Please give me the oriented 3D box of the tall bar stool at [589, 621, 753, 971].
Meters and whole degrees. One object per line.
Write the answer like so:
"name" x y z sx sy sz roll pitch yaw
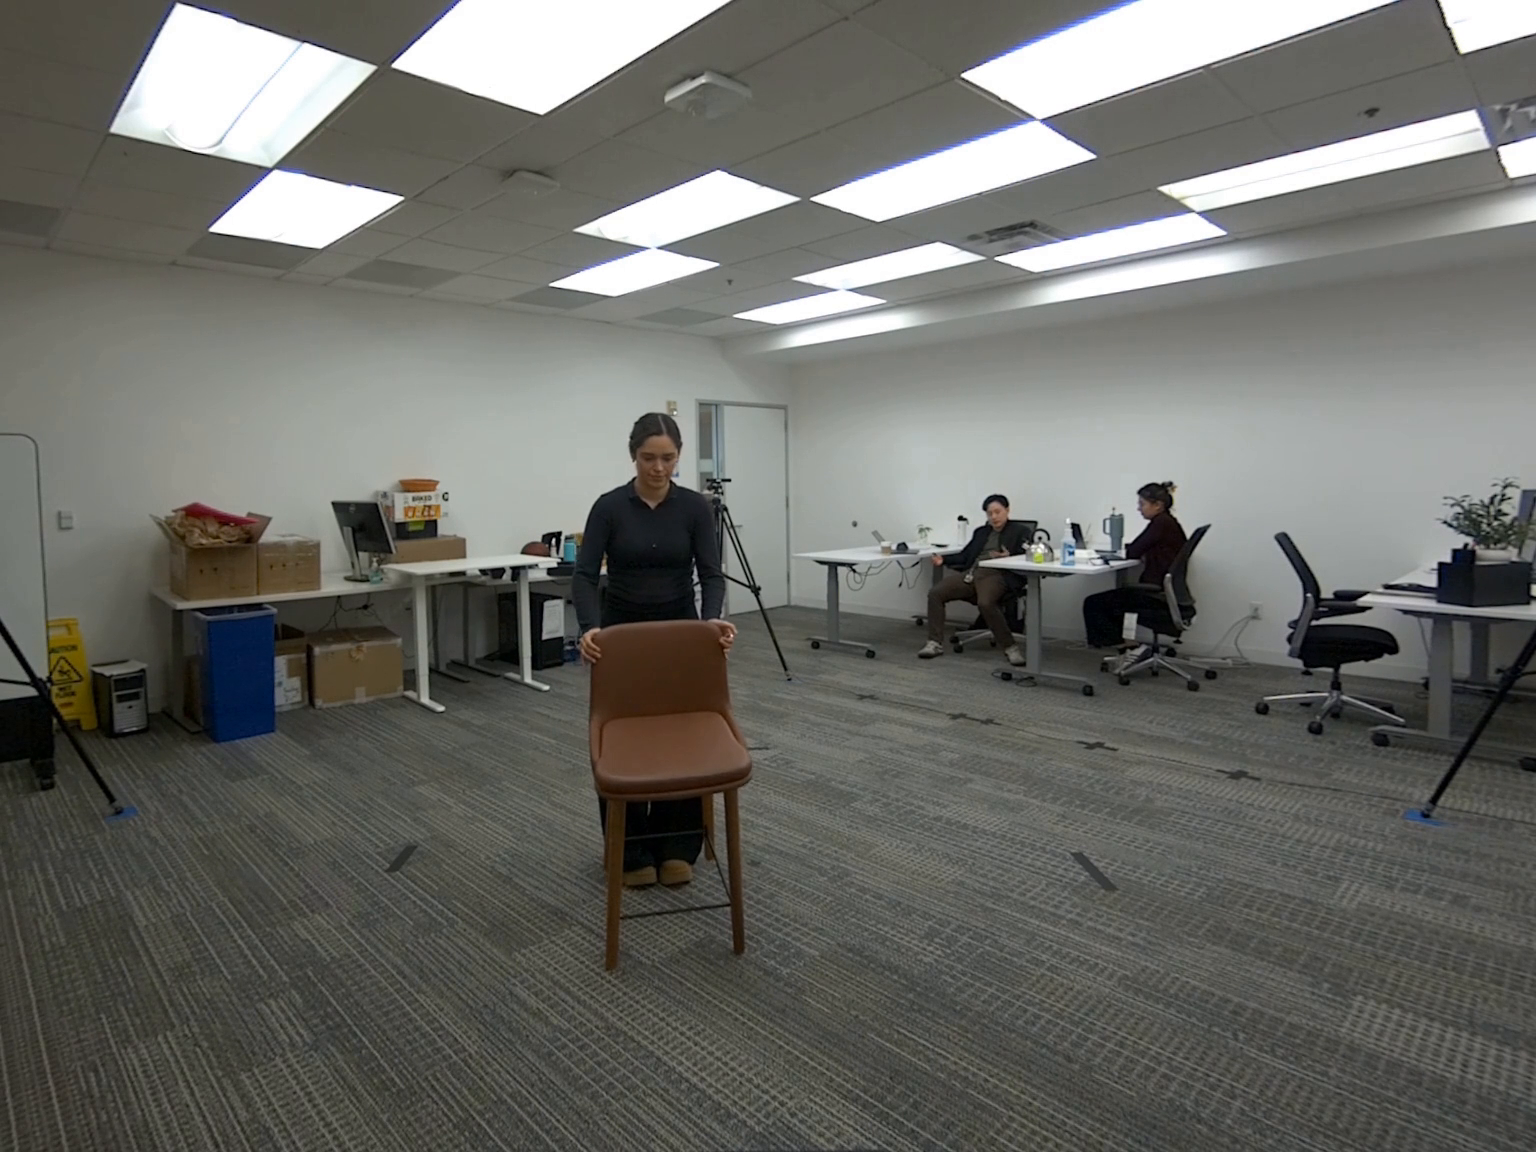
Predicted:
"tall bar stool" -0.306 0.637 2.573 0.451 0.879 0.479 -3 15 -13
